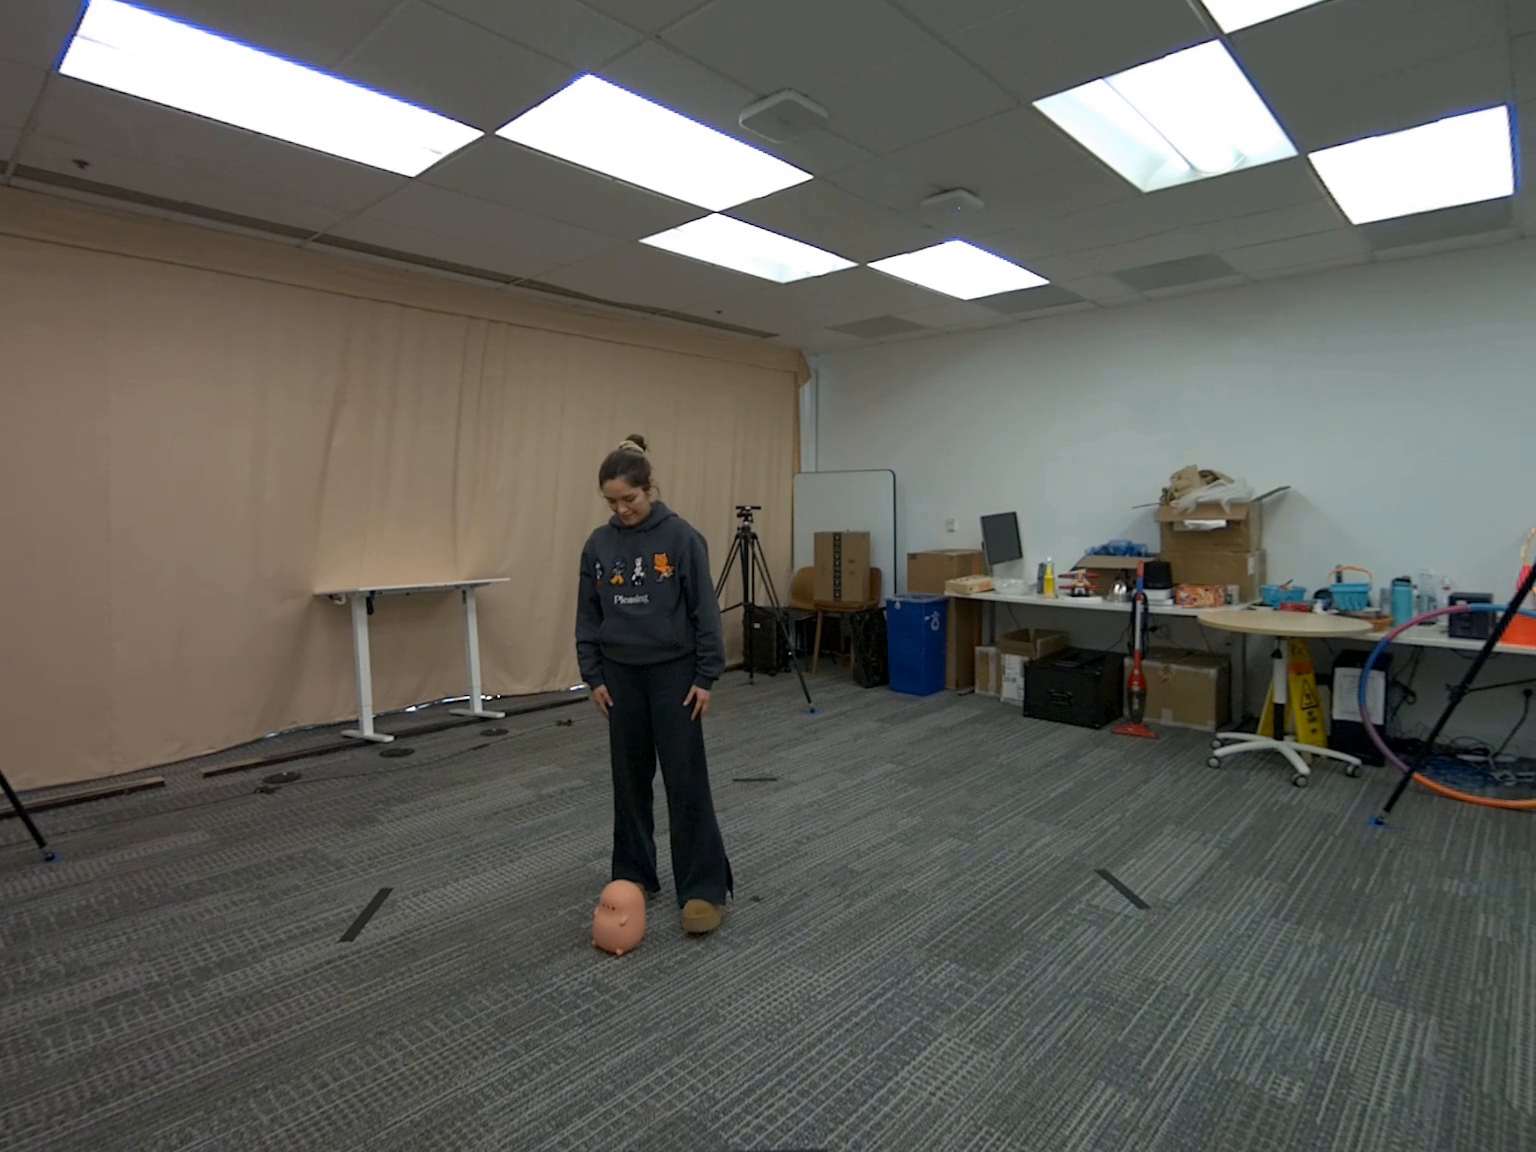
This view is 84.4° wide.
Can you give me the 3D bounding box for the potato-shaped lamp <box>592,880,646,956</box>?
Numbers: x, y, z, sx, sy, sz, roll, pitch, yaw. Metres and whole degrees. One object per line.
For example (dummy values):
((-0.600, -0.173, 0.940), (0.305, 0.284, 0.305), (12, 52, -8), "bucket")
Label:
((-0.451, 1.069, 2.683), (0.170, 0.198, 0.166), (3, 4, 31), "potato-shaped lamp")
